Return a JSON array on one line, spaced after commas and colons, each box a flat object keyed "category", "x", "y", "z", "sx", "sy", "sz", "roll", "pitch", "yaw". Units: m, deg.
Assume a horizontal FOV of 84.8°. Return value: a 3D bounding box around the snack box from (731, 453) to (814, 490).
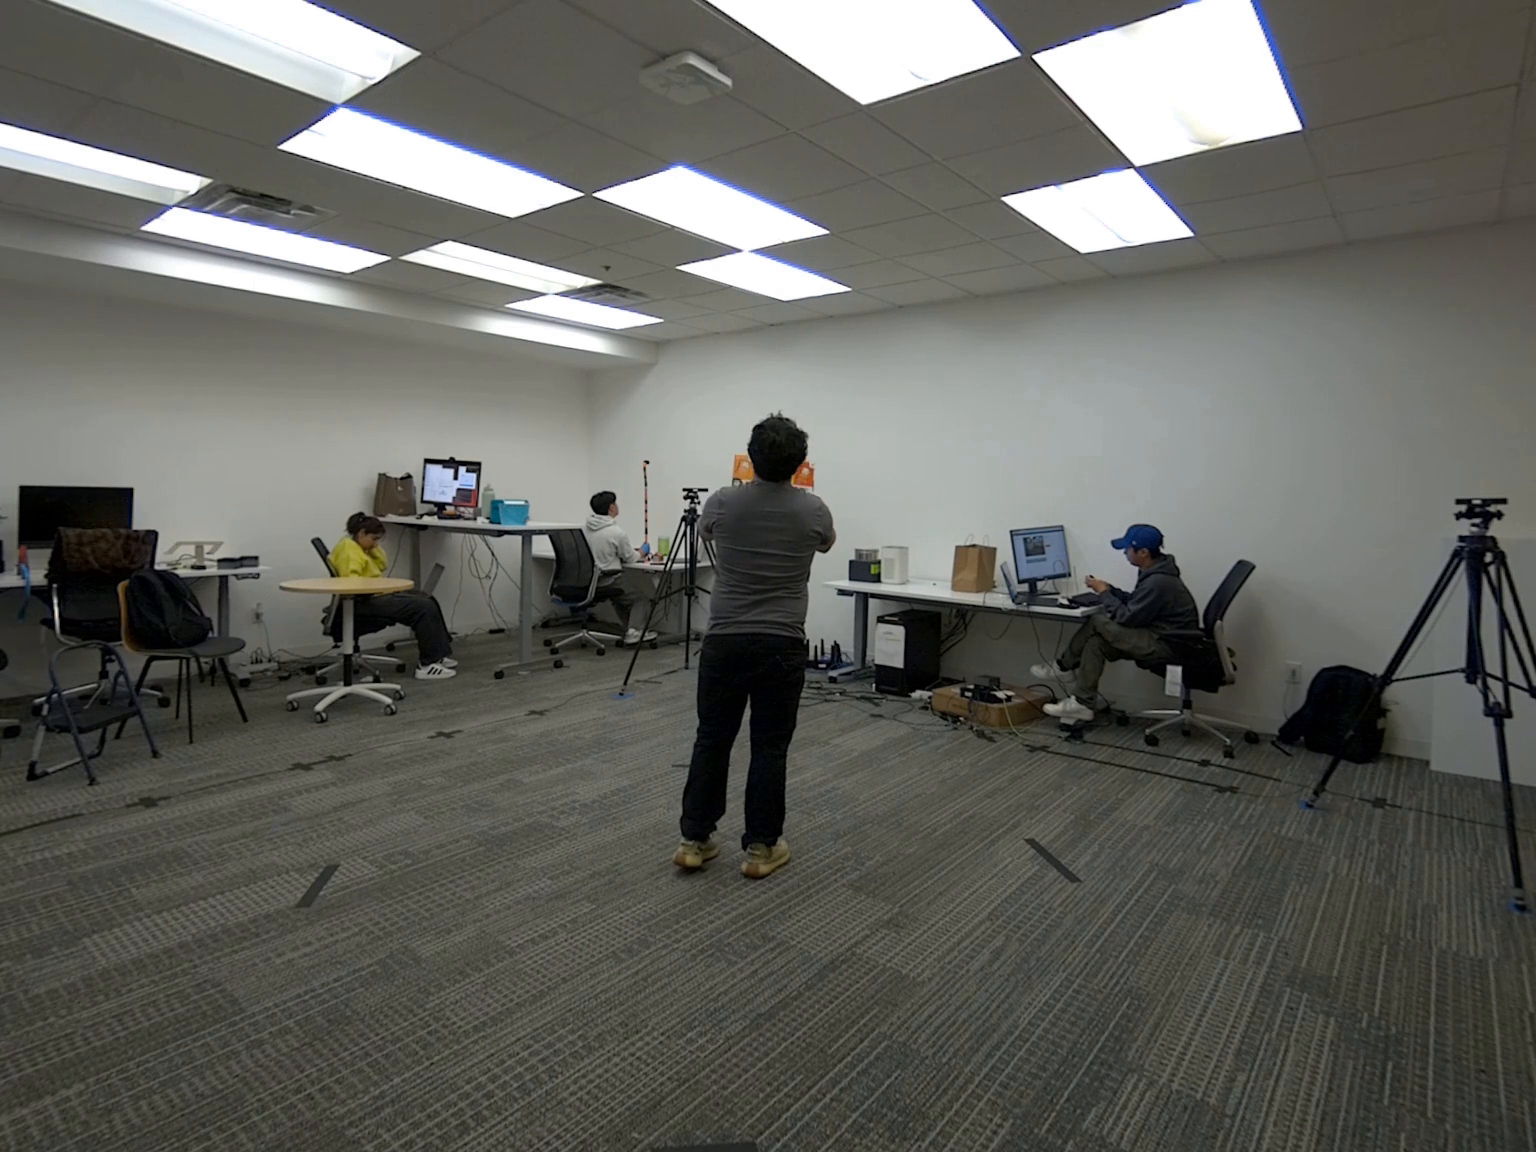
[{"category": "snack box", "x": -0.004, "y": -0.351, "z": 3.684, "sx": 0.340, "sy": 0.208, "sz": 0.401, "roll": 6, "pitch": -13, "yaw": -3}]
